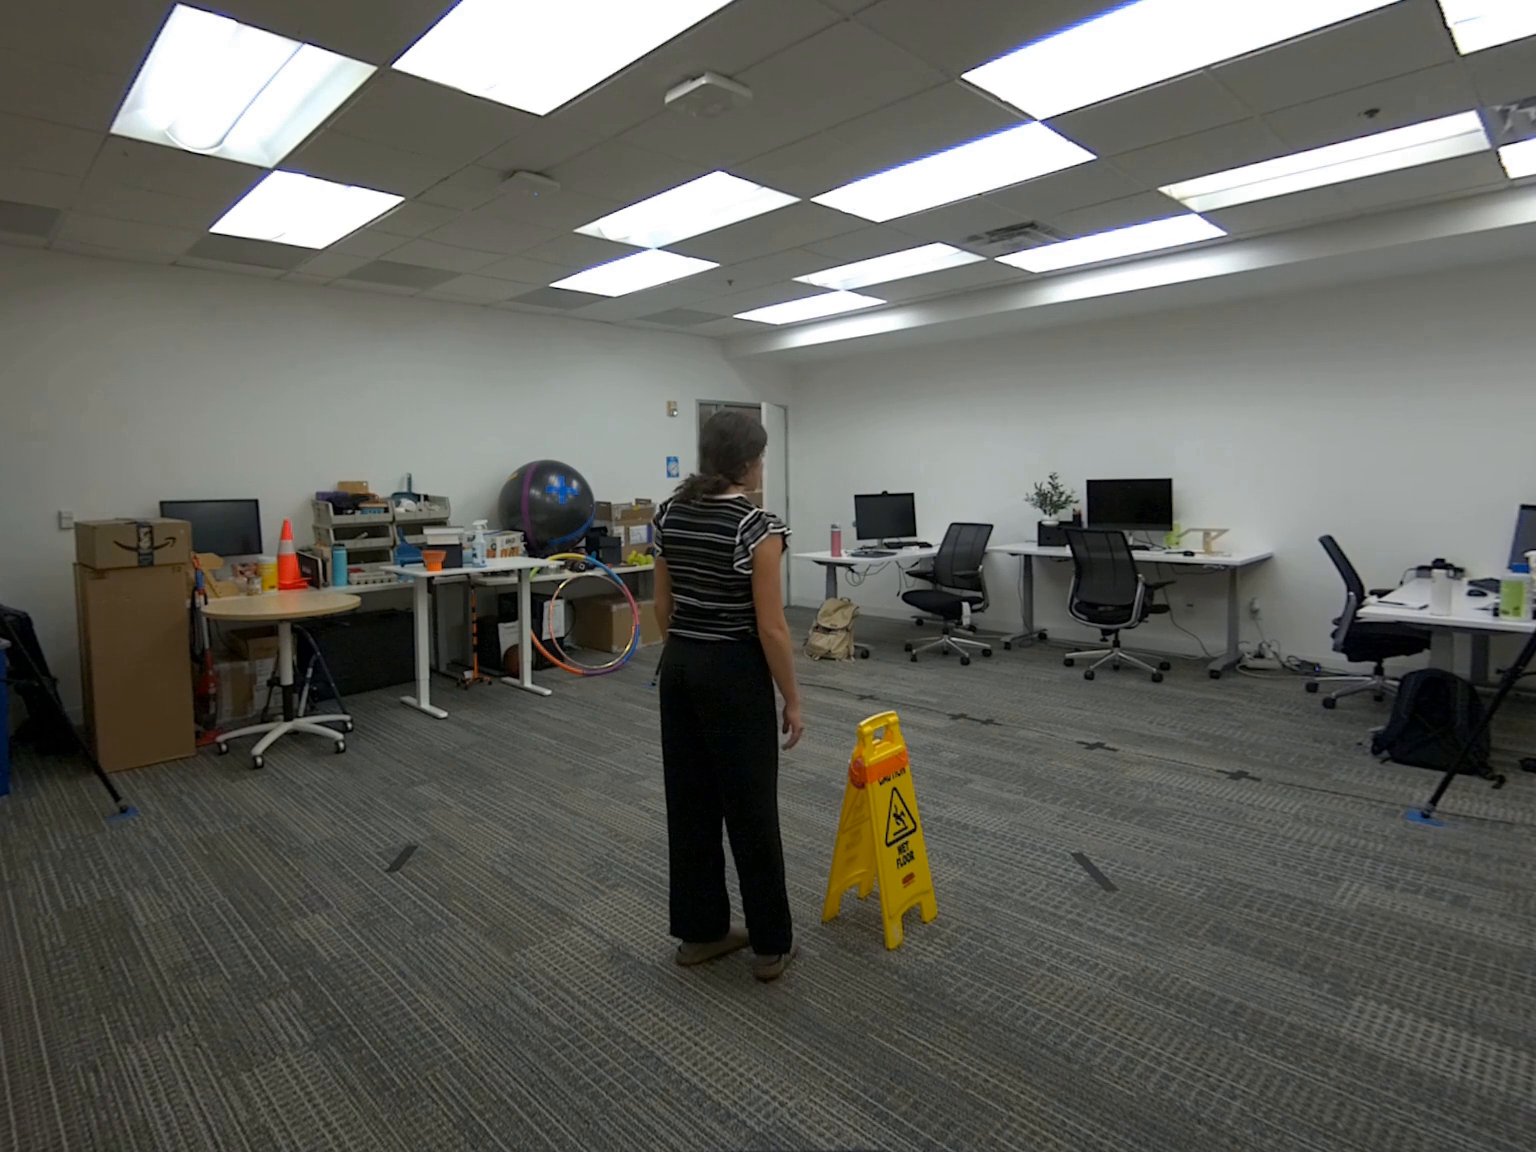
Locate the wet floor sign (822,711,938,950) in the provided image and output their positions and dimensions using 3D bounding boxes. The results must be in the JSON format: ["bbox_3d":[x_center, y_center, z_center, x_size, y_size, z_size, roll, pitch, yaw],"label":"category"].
[{"bbox_3d":[0.355,0.762,2.679,0.298,0.643,0.275,3,6,41],"label":"wet floor sign"}]
